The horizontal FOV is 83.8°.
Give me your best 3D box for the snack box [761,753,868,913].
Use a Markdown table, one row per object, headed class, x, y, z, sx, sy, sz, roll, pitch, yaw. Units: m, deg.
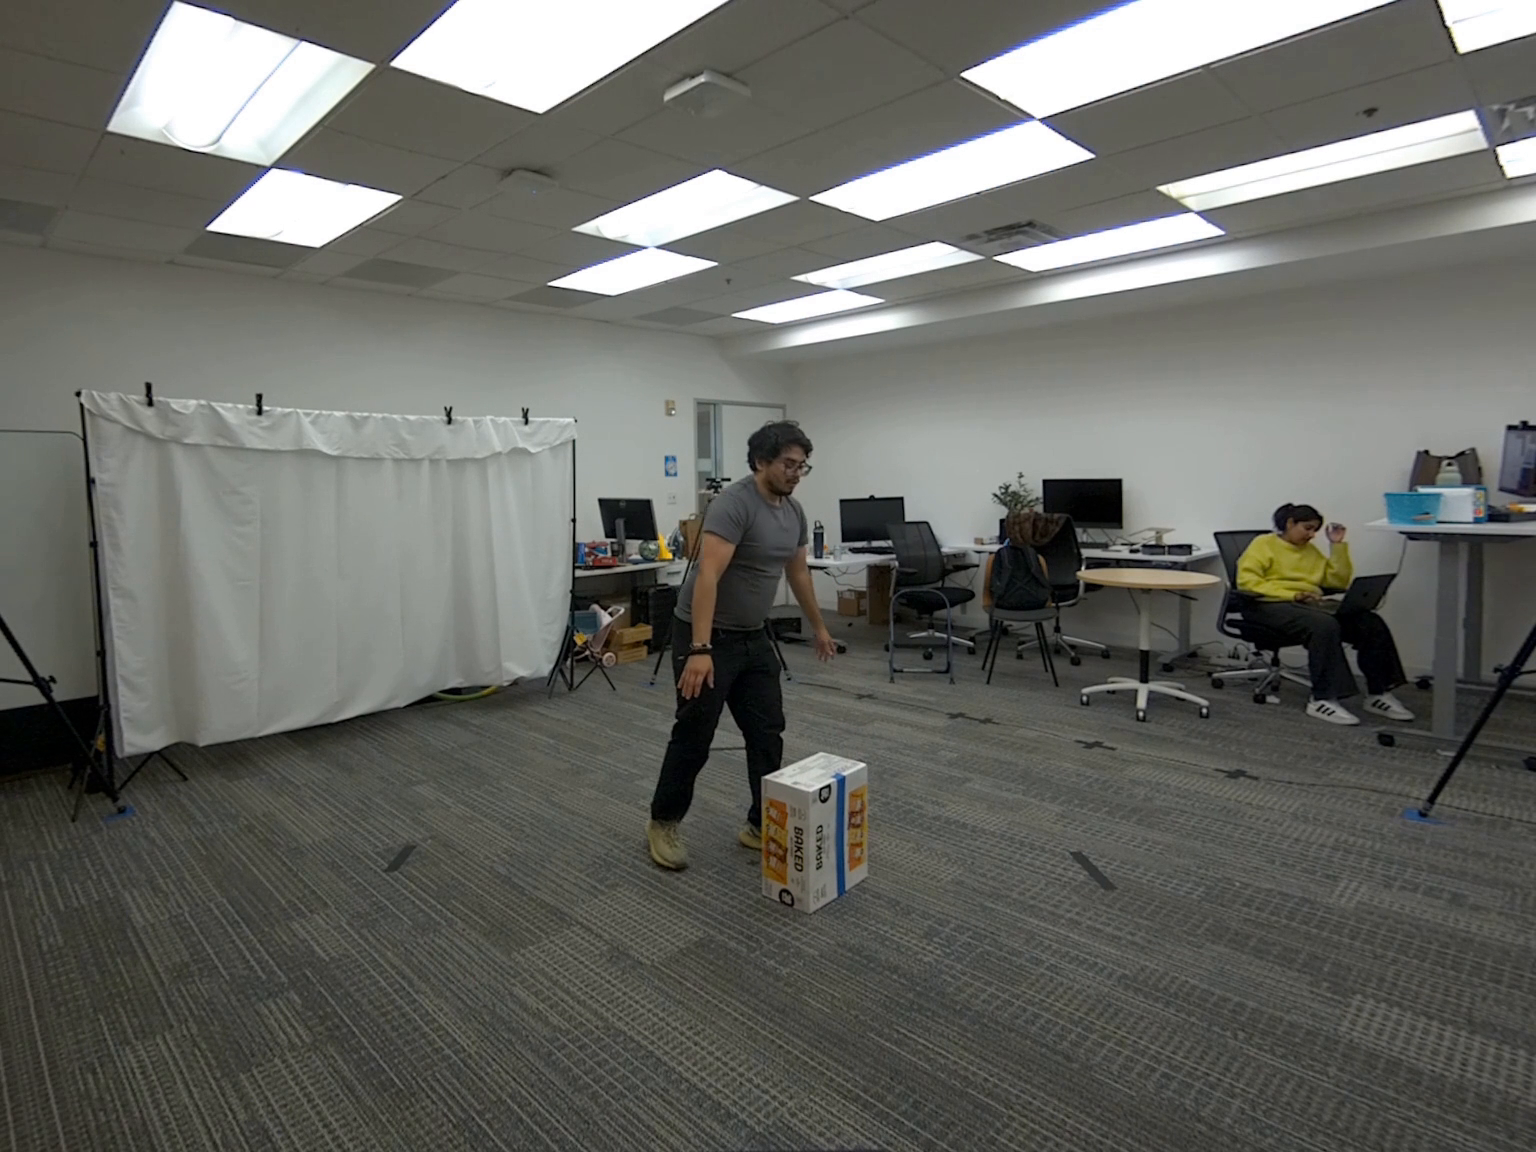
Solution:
| class | x | y | z | sx | sy | sz | roll | pitch | yaw |
| --- | --- | --- | --- | --- | --- | --- | --- | --- | --- |
| snack box | 0.162 | 0.859 | 2.903 | 0.212 | 0.403 | 0.331 | 3 | 6 | 41 |
